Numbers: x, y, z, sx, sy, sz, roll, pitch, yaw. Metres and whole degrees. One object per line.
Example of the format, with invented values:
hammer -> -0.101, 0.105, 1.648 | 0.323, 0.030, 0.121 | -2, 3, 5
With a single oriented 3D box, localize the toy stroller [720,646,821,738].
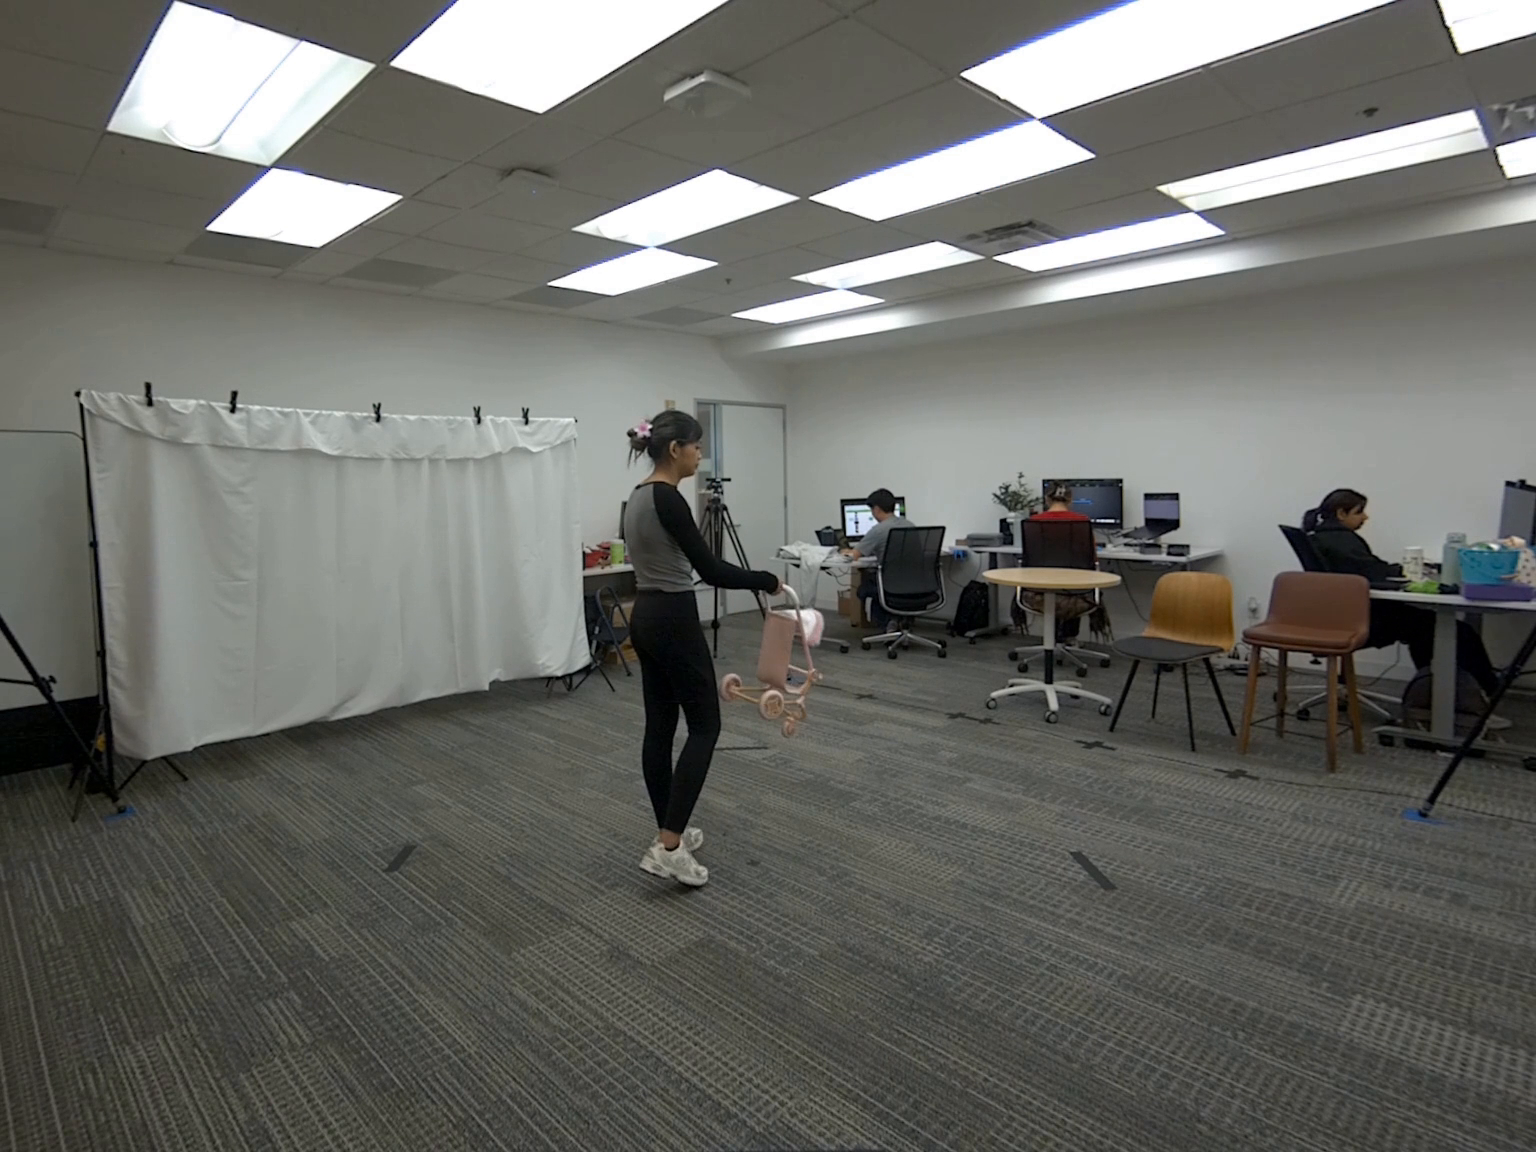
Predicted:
toy stroller -> 0.065, 0.336, 3.264 | 0.330, 0.537, 0.290 | 24, -8, -34
